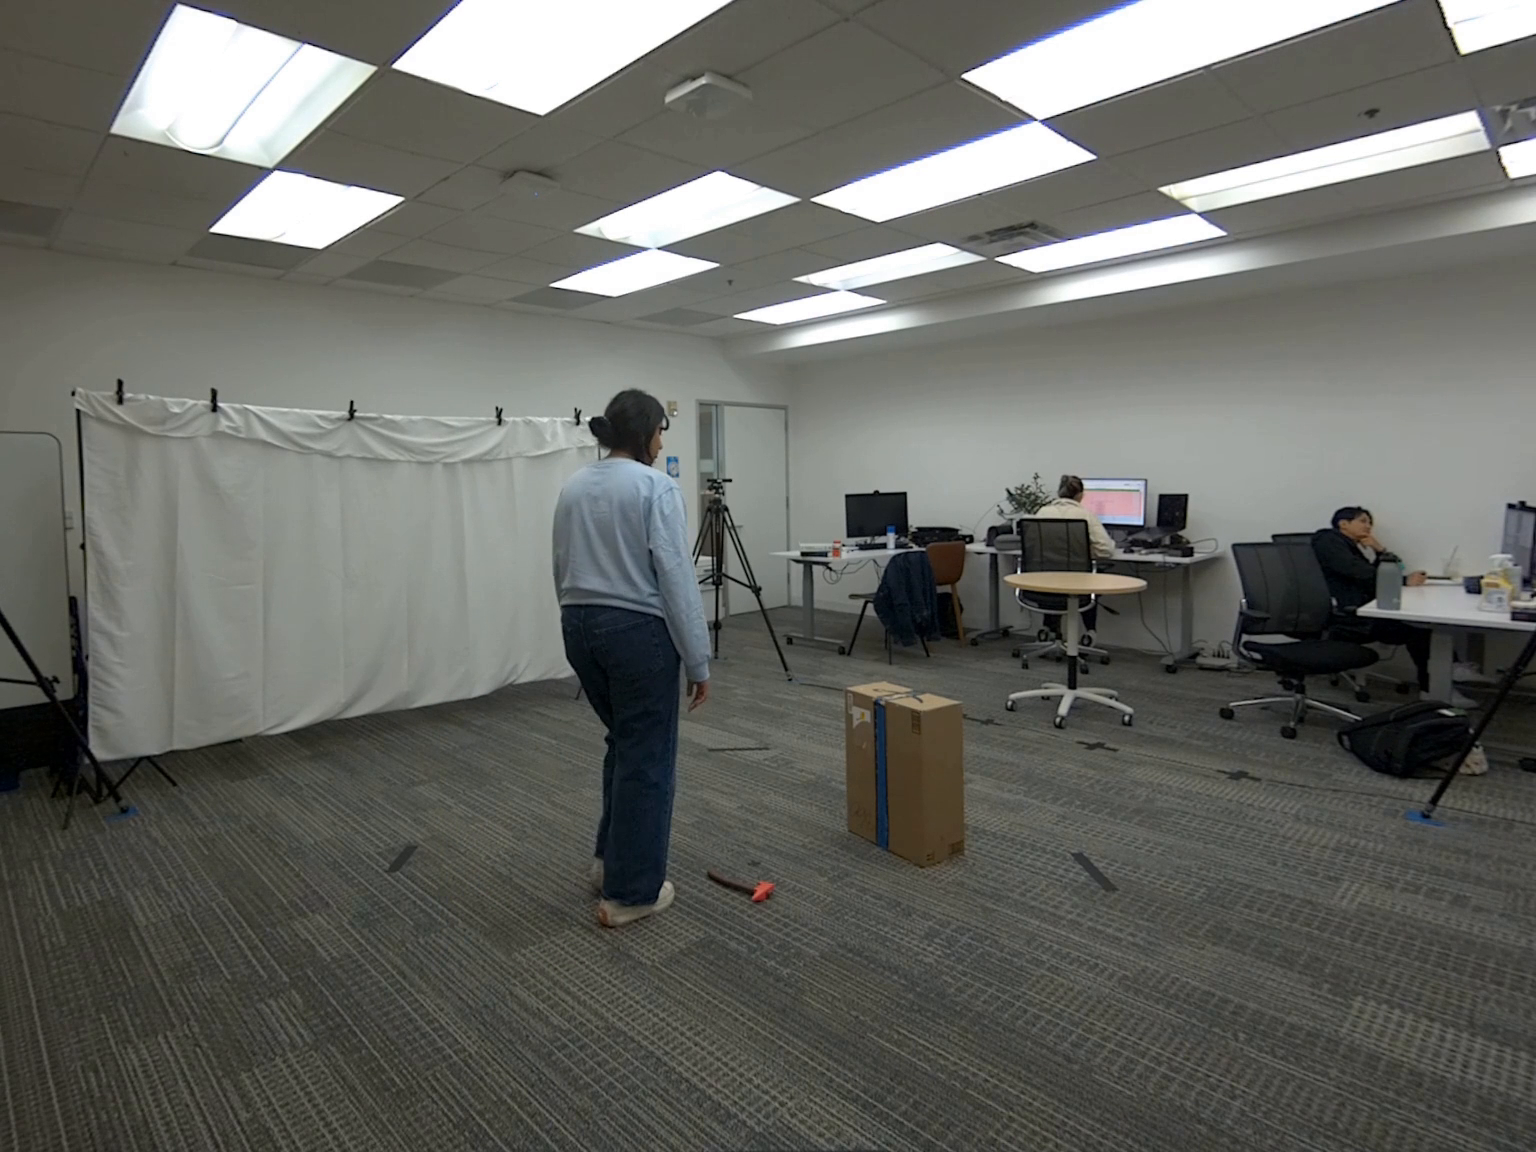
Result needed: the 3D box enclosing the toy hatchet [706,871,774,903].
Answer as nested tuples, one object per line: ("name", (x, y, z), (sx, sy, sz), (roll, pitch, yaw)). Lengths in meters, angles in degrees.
("toy hatchet", (-0.081, 1.048, 2.942), (0.128, 0.029, 0.278), (-6, 7, -38))
